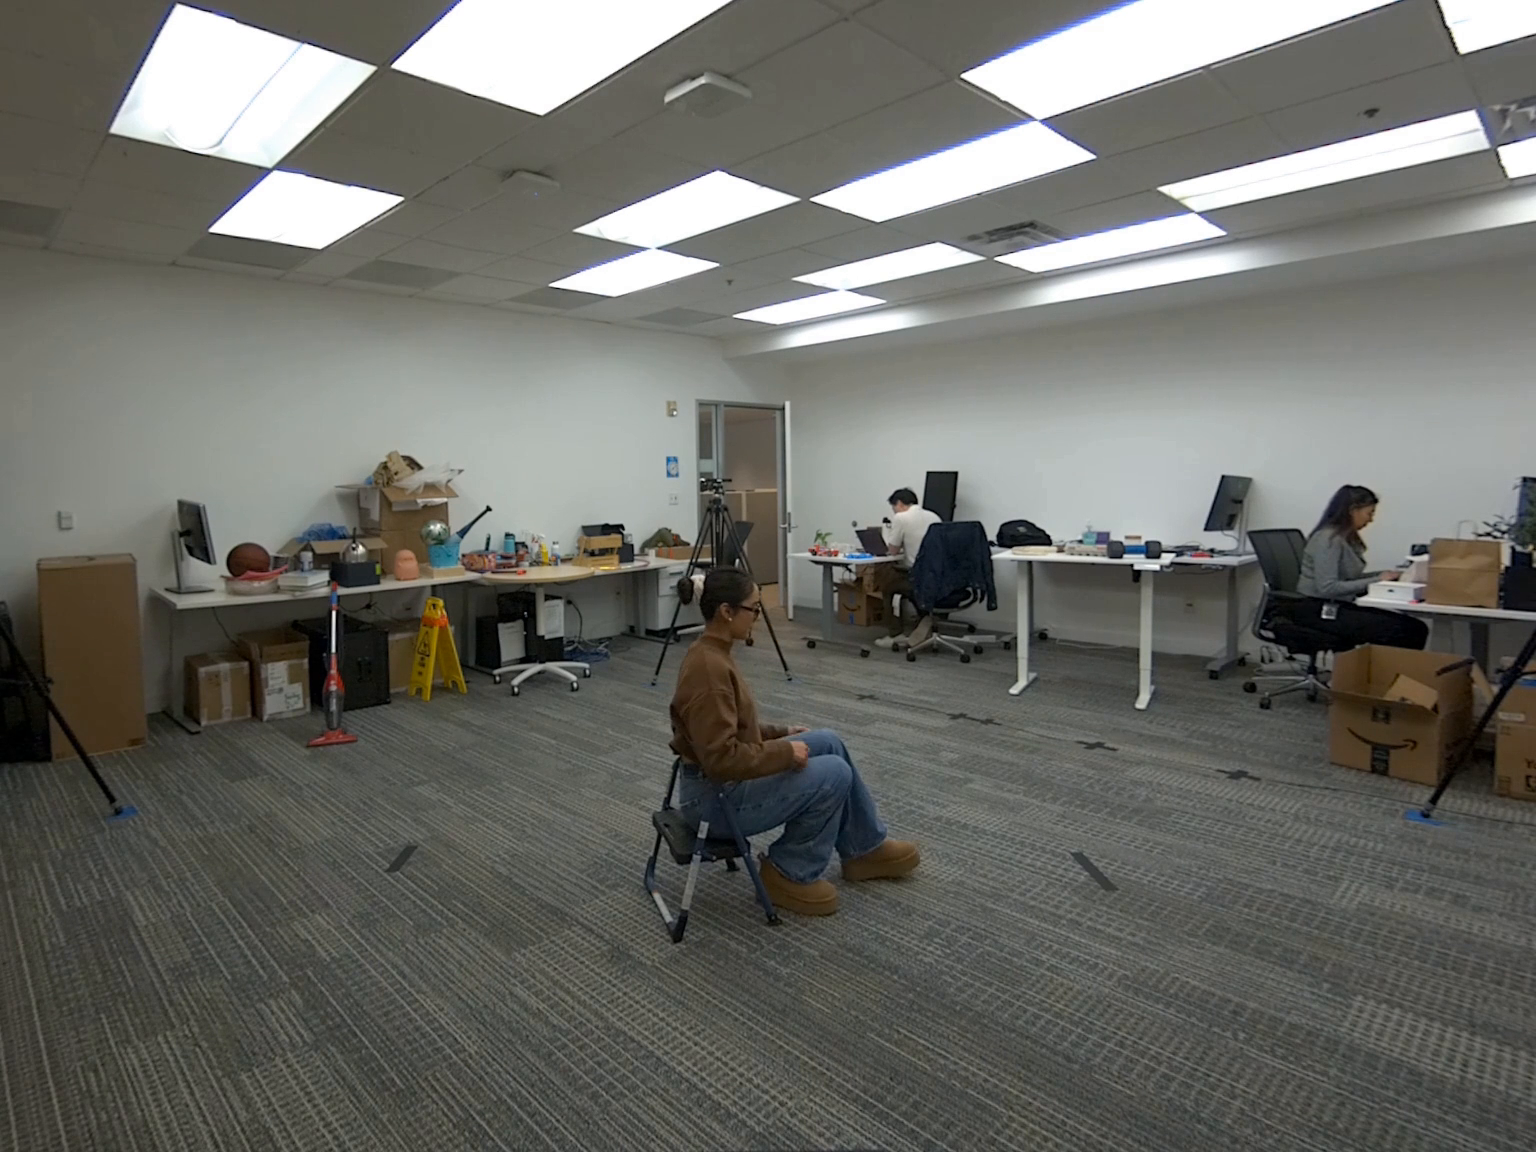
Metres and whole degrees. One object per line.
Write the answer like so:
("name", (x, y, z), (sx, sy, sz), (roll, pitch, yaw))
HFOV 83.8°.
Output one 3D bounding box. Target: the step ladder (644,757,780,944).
("step ladder", (-0.199, 0.785, 2.806), (0.343, 0.604, 0.440), (-2, 4, -21))
